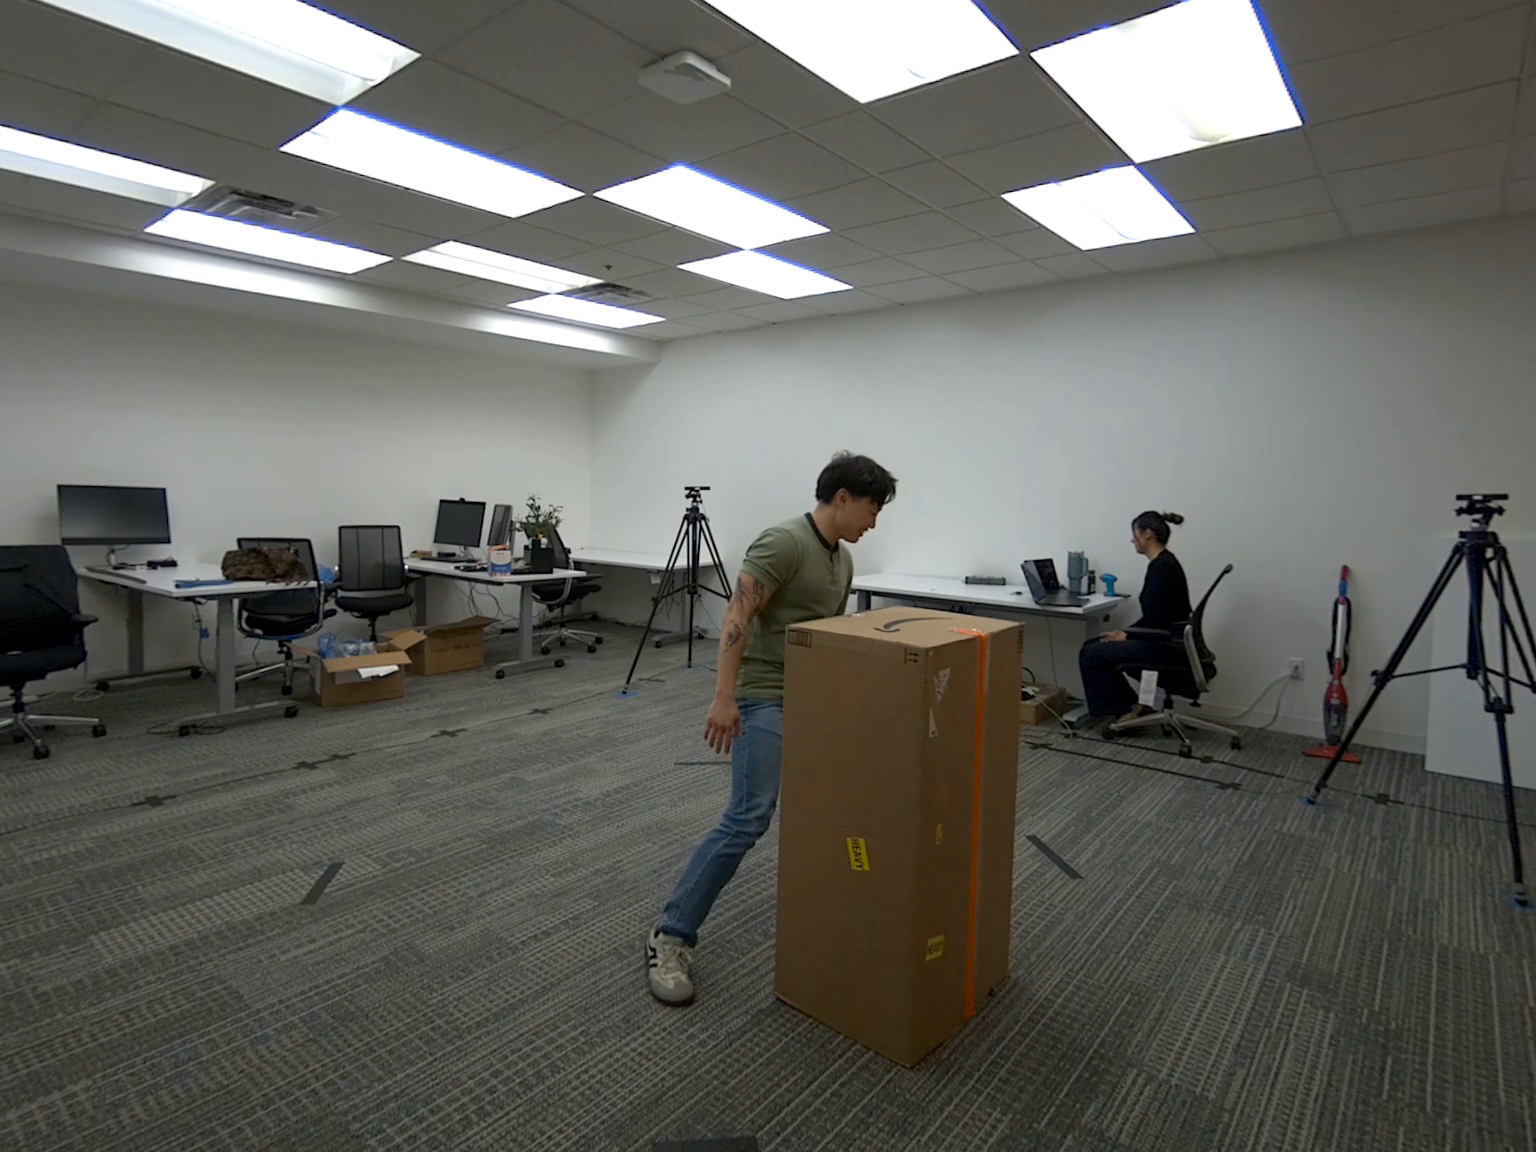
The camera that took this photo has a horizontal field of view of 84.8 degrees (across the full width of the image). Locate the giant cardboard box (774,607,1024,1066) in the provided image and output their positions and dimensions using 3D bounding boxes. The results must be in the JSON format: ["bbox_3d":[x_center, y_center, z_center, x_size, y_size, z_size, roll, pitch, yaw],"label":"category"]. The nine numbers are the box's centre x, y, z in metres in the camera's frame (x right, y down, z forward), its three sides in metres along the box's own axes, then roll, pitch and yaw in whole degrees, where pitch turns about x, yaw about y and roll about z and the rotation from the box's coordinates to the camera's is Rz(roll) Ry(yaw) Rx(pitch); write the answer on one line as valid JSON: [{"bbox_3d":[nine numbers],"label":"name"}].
[{"bbox_3d":[0.371,0.641,2.361,0.441,1.022,0.560,5,5,40],"label":"giant cardboard box"}]
